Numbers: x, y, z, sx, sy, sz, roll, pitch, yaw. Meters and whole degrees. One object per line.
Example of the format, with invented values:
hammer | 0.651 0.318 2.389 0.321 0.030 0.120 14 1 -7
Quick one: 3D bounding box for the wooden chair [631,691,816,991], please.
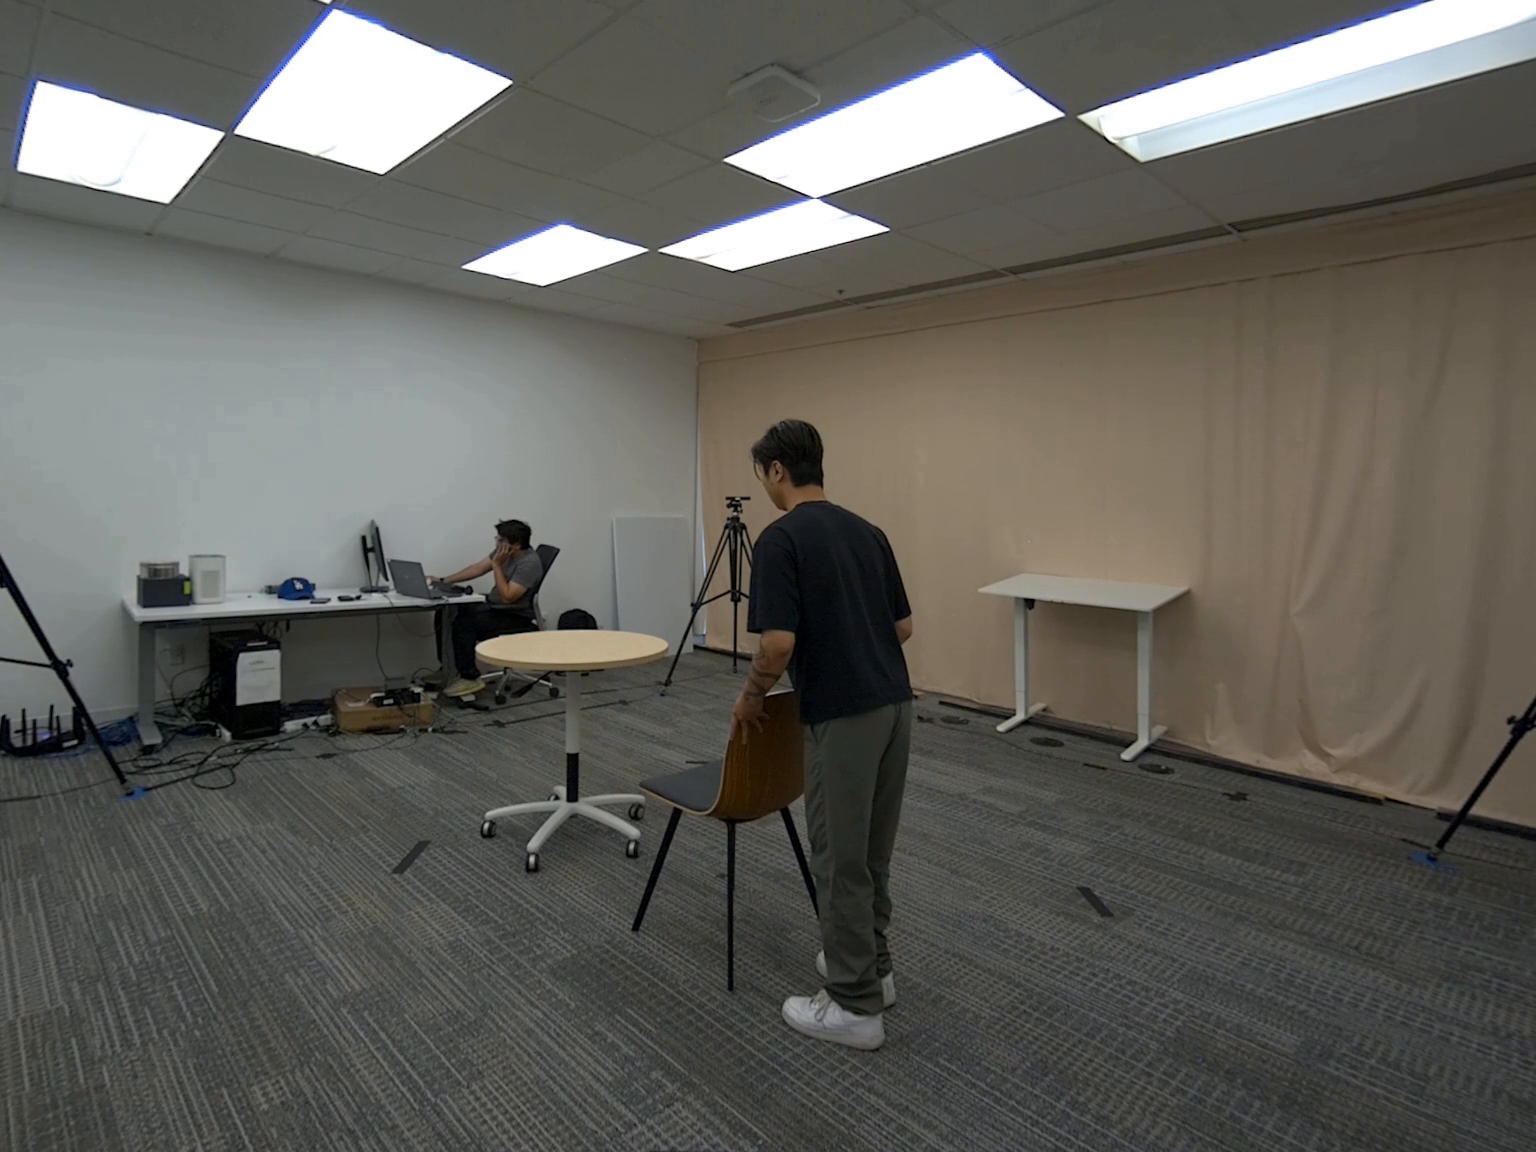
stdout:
wooden chair | -0.118 0.716 2.666 0.537 0.873 0.467 11 10 44
